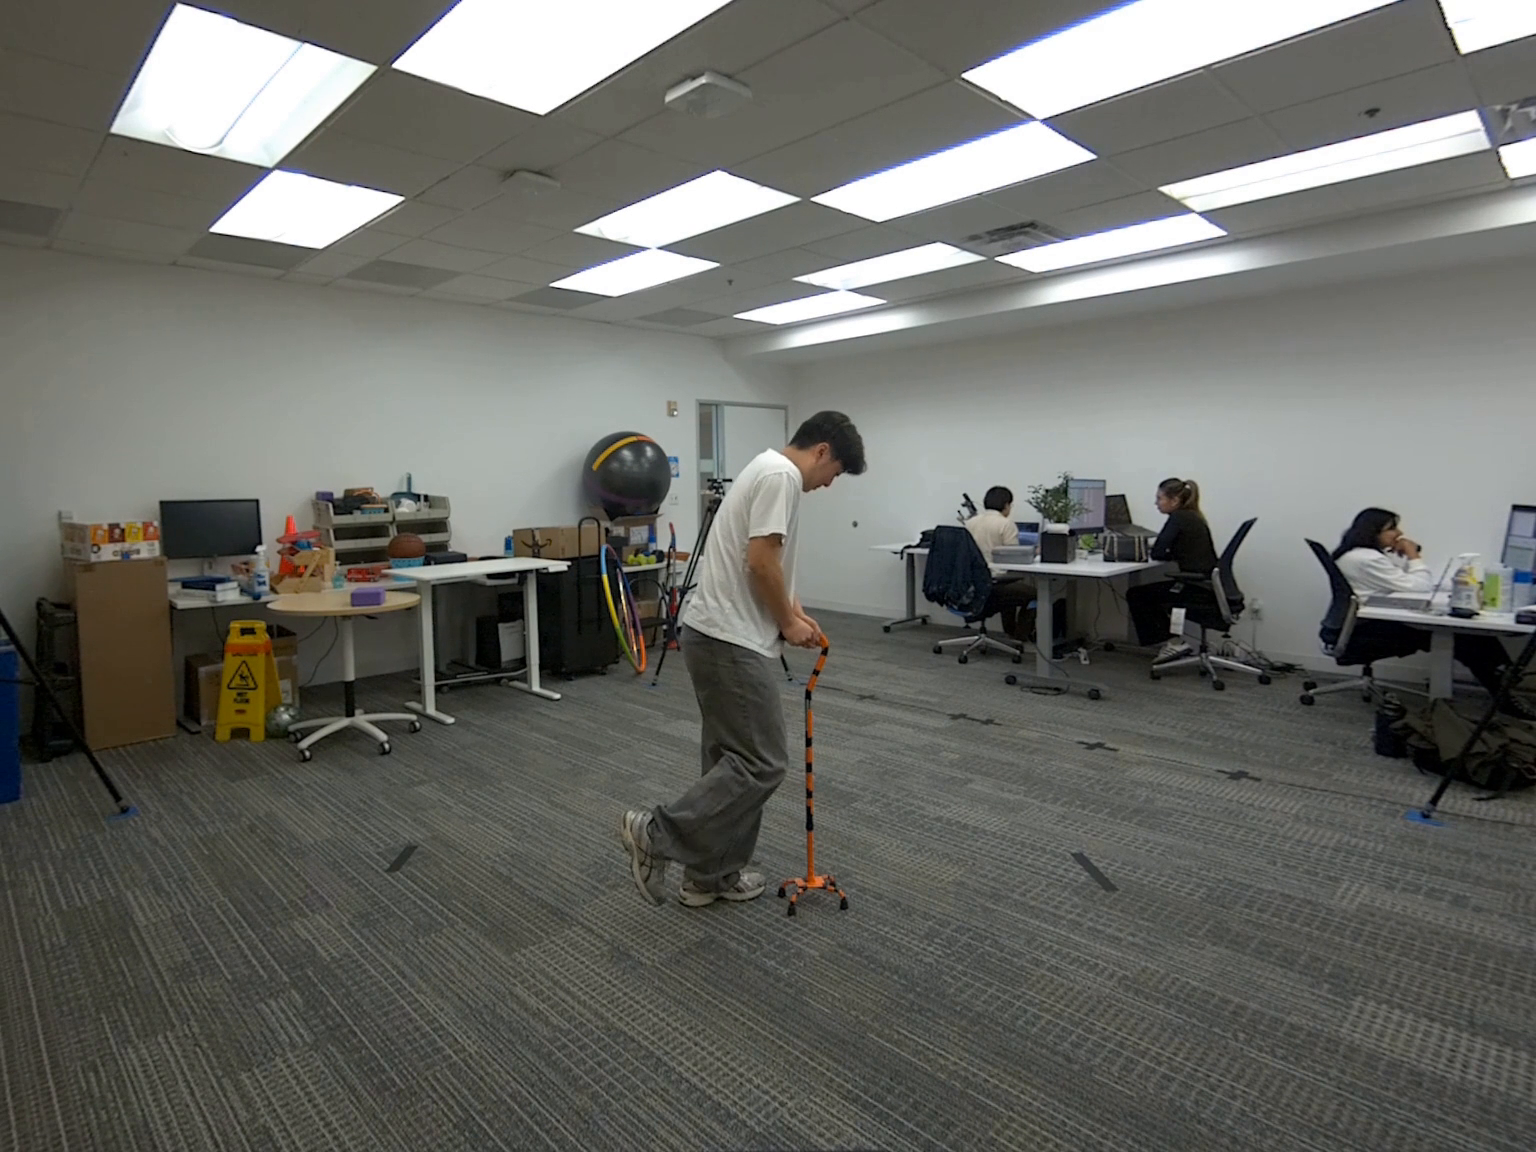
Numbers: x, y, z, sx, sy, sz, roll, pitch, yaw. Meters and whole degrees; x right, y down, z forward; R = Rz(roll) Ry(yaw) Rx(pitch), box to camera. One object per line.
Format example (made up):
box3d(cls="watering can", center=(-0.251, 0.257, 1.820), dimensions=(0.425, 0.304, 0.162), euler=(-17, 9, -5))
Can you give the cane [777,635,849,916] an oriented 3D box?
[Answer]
box3d(cls="cane", center=(0.138, 0.623, 2.788), dimensions=(0.204, 0.905, 0.154), euler=(-3, 4, -14))
